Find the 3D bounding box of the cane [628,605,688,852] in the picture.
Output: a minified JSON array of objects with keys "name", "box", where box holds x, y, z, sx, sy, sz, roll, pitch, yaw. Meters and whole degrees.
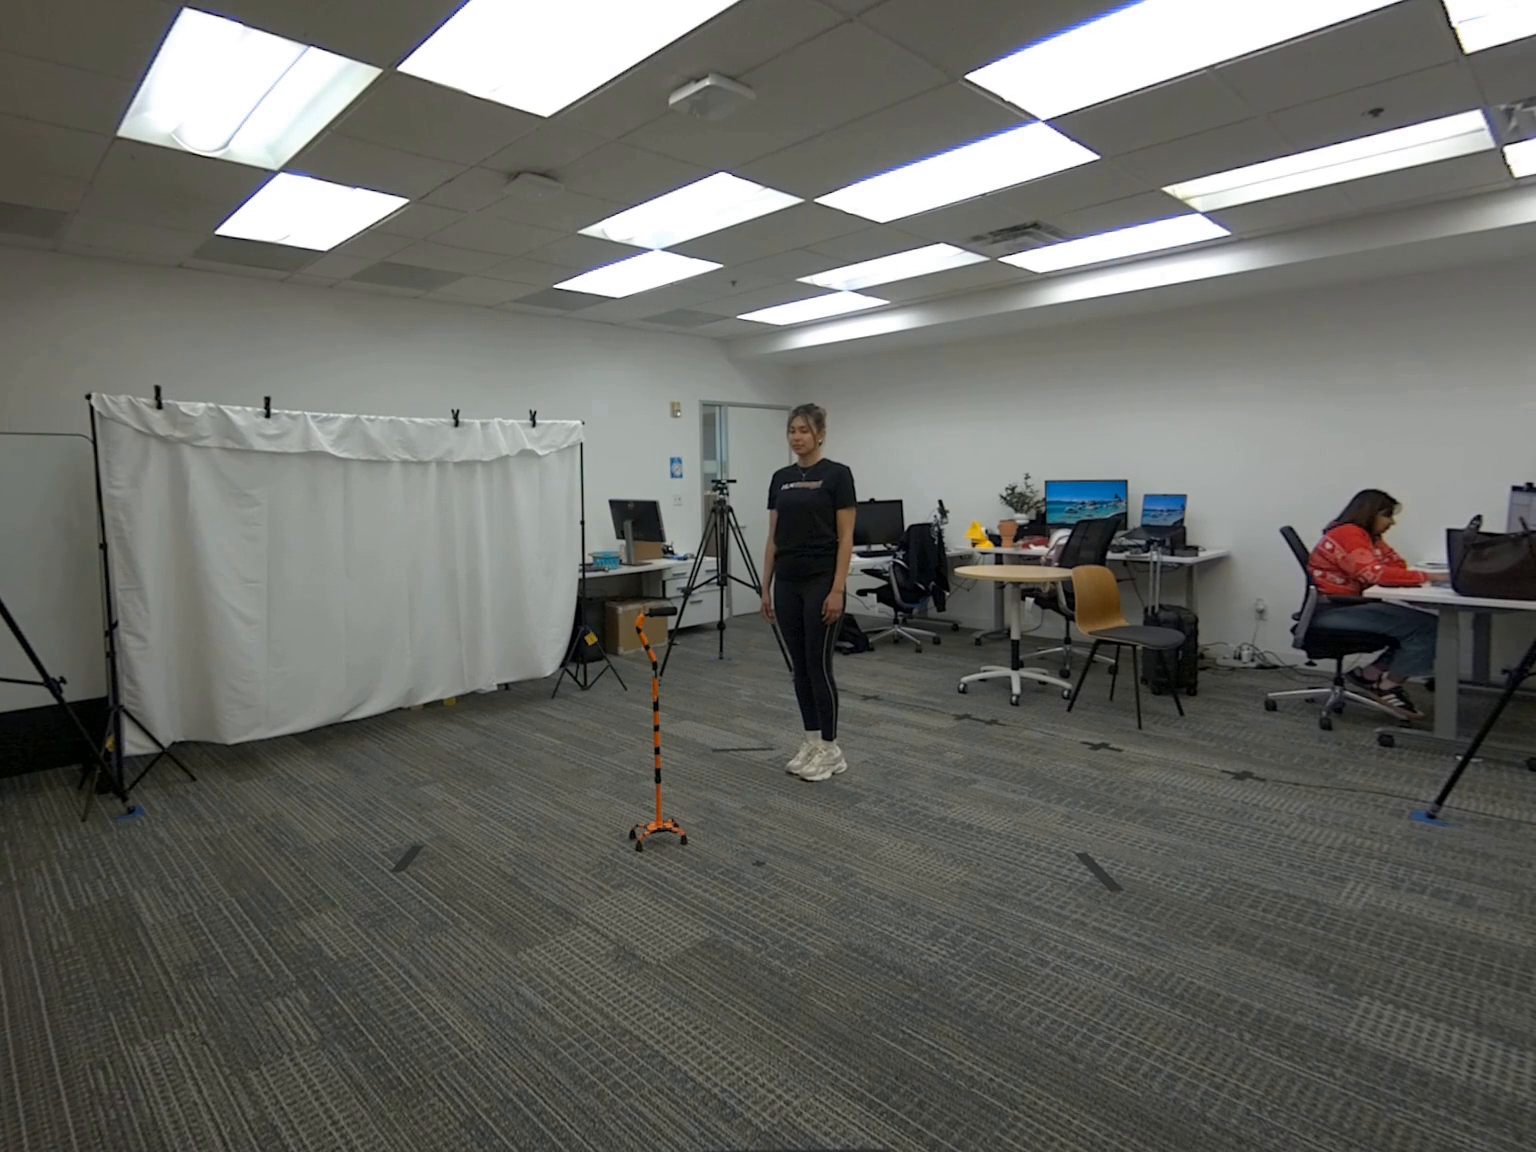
[{"name":"cane","box":[-0.435,0.580,3.297,0.203,0.904,0.154,-2,4,-16]}]
